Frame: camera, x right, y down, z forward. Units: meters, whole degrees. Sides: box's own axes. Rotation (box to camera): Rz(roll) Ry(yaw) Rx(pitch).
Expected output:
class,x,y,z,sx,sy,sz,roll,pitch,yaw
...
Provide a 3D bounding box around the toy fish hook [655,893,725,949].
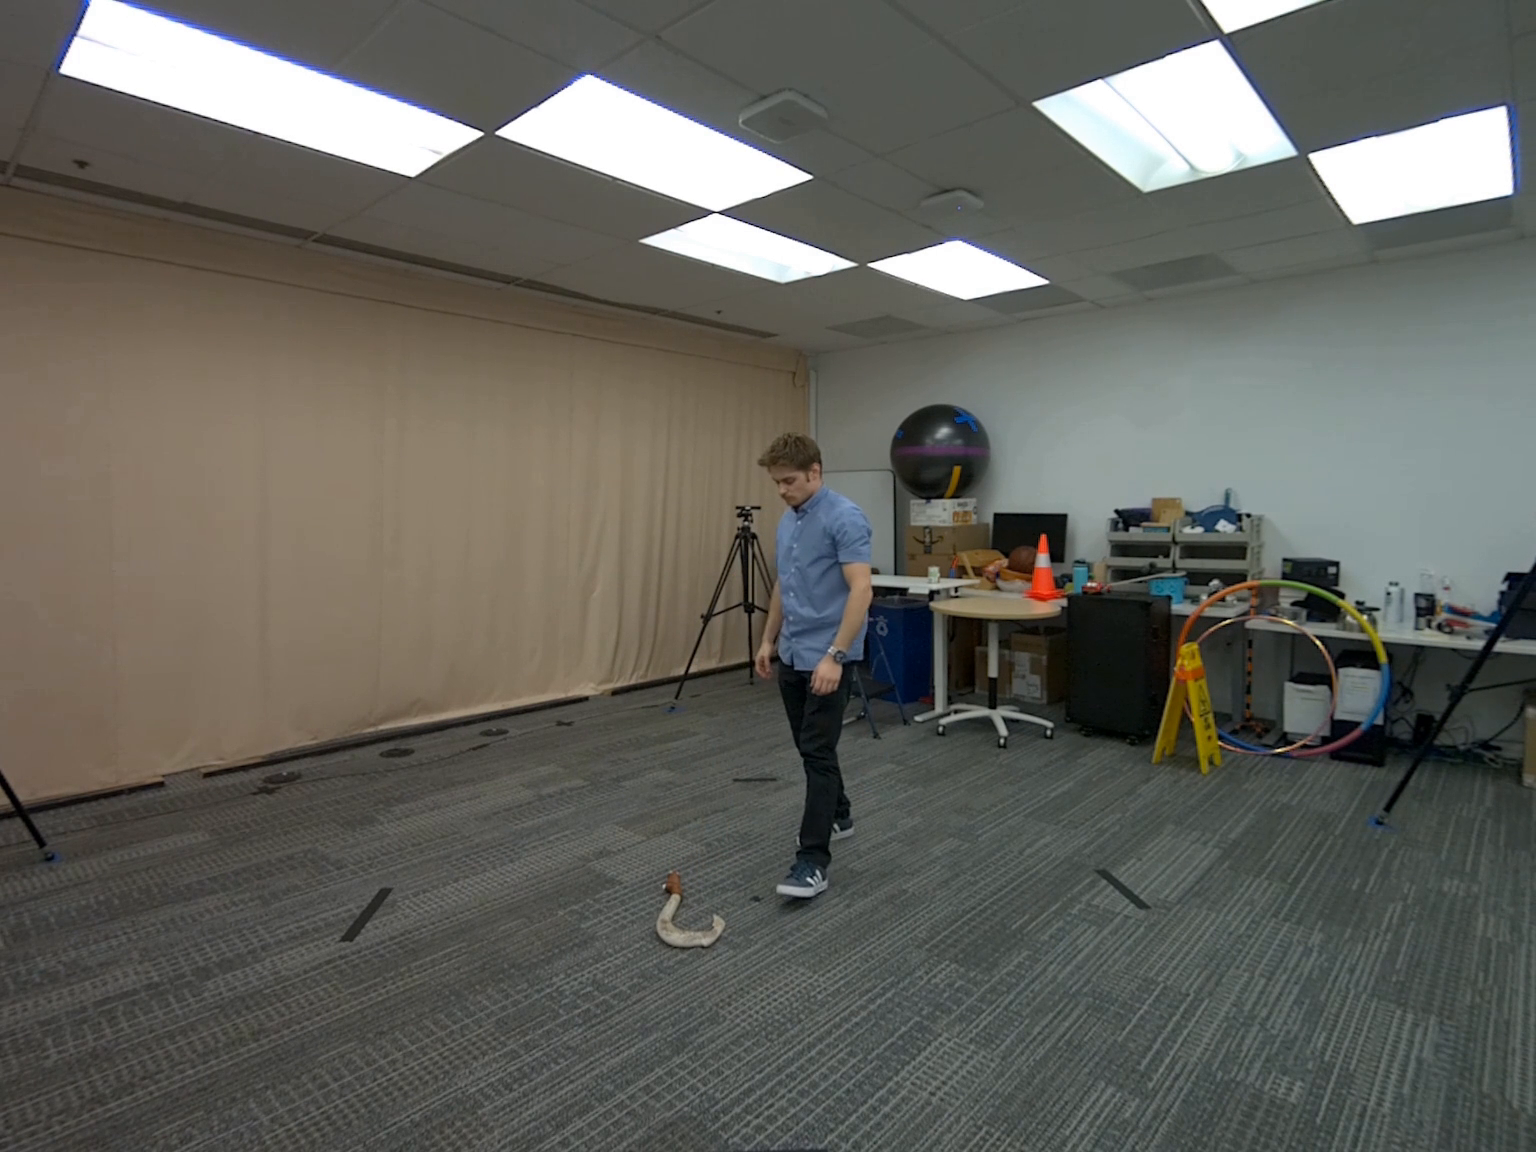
class,x,y,z,sx,sy,sz,roll,pitch,yaw
toy fish hook,-0.268,1.137,2.889,0.223,0.048,0.511,7,4,-7
